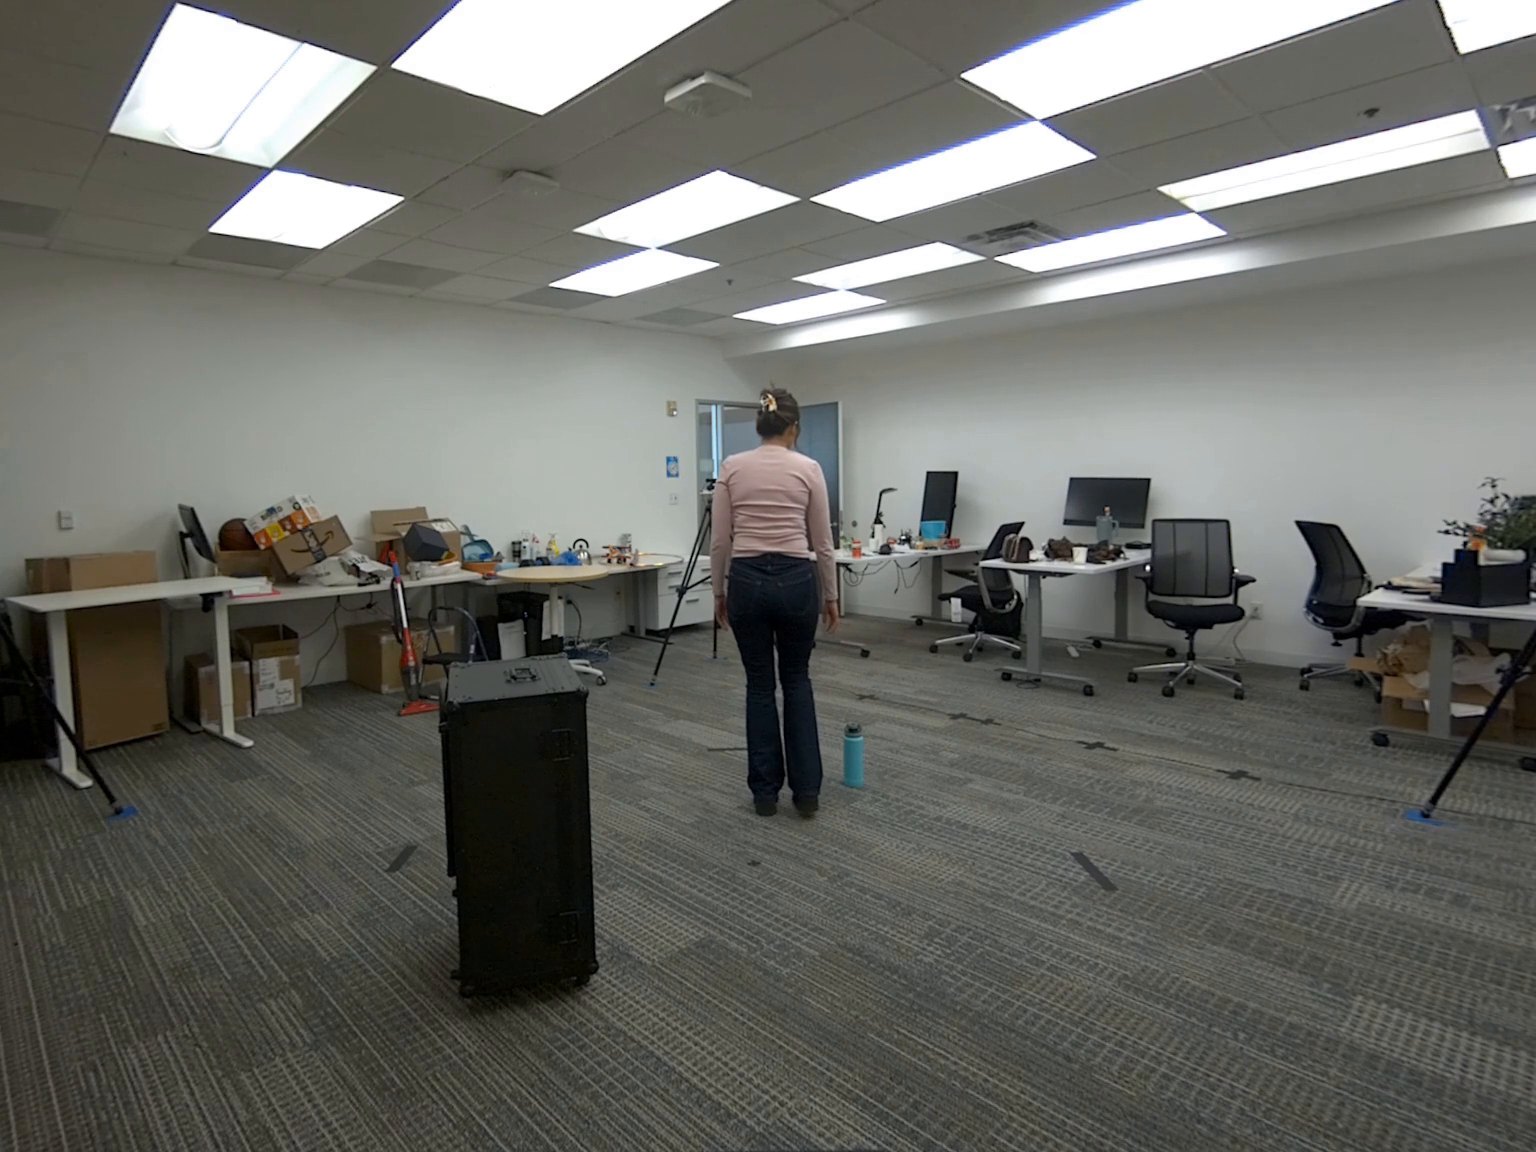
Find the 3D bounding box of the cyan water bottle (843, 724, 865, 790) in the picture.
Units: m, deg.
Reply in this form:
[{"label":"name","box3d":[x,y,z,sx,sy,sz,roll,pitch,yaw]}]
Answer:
[{"label":"cyan water bottle","box3d":[0.392,0.810,3.891,0.092,0.283,0.092,-1,2,-2]}]
